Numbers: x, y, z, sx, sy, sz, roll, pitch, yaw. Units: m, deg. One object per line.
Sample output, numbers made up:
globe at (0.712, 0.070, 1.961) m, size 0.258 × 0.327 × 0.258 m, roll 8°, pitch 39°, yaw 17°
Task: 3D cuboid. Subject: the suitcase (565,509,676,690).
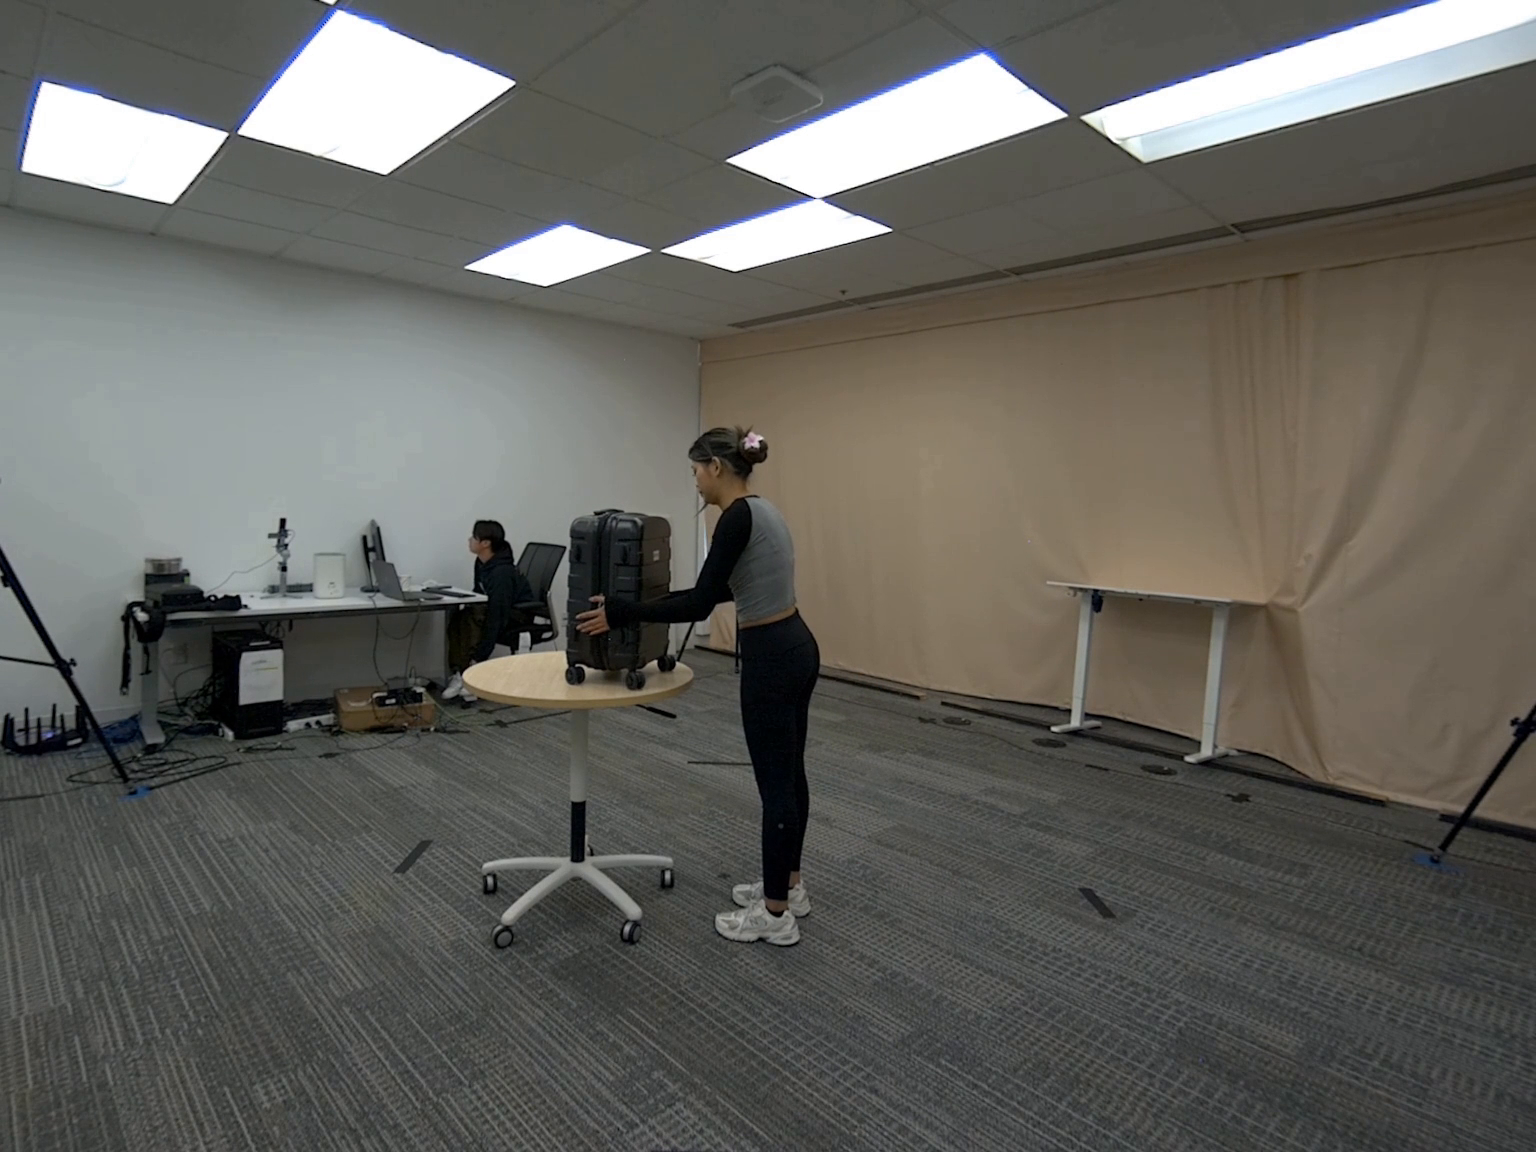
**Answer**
suitcase at (-0.486, 0.058, 2.794) m, size 0.251 × 0.548 × 0.372 m, roll 2°, pitch 3°, yaw 14°
